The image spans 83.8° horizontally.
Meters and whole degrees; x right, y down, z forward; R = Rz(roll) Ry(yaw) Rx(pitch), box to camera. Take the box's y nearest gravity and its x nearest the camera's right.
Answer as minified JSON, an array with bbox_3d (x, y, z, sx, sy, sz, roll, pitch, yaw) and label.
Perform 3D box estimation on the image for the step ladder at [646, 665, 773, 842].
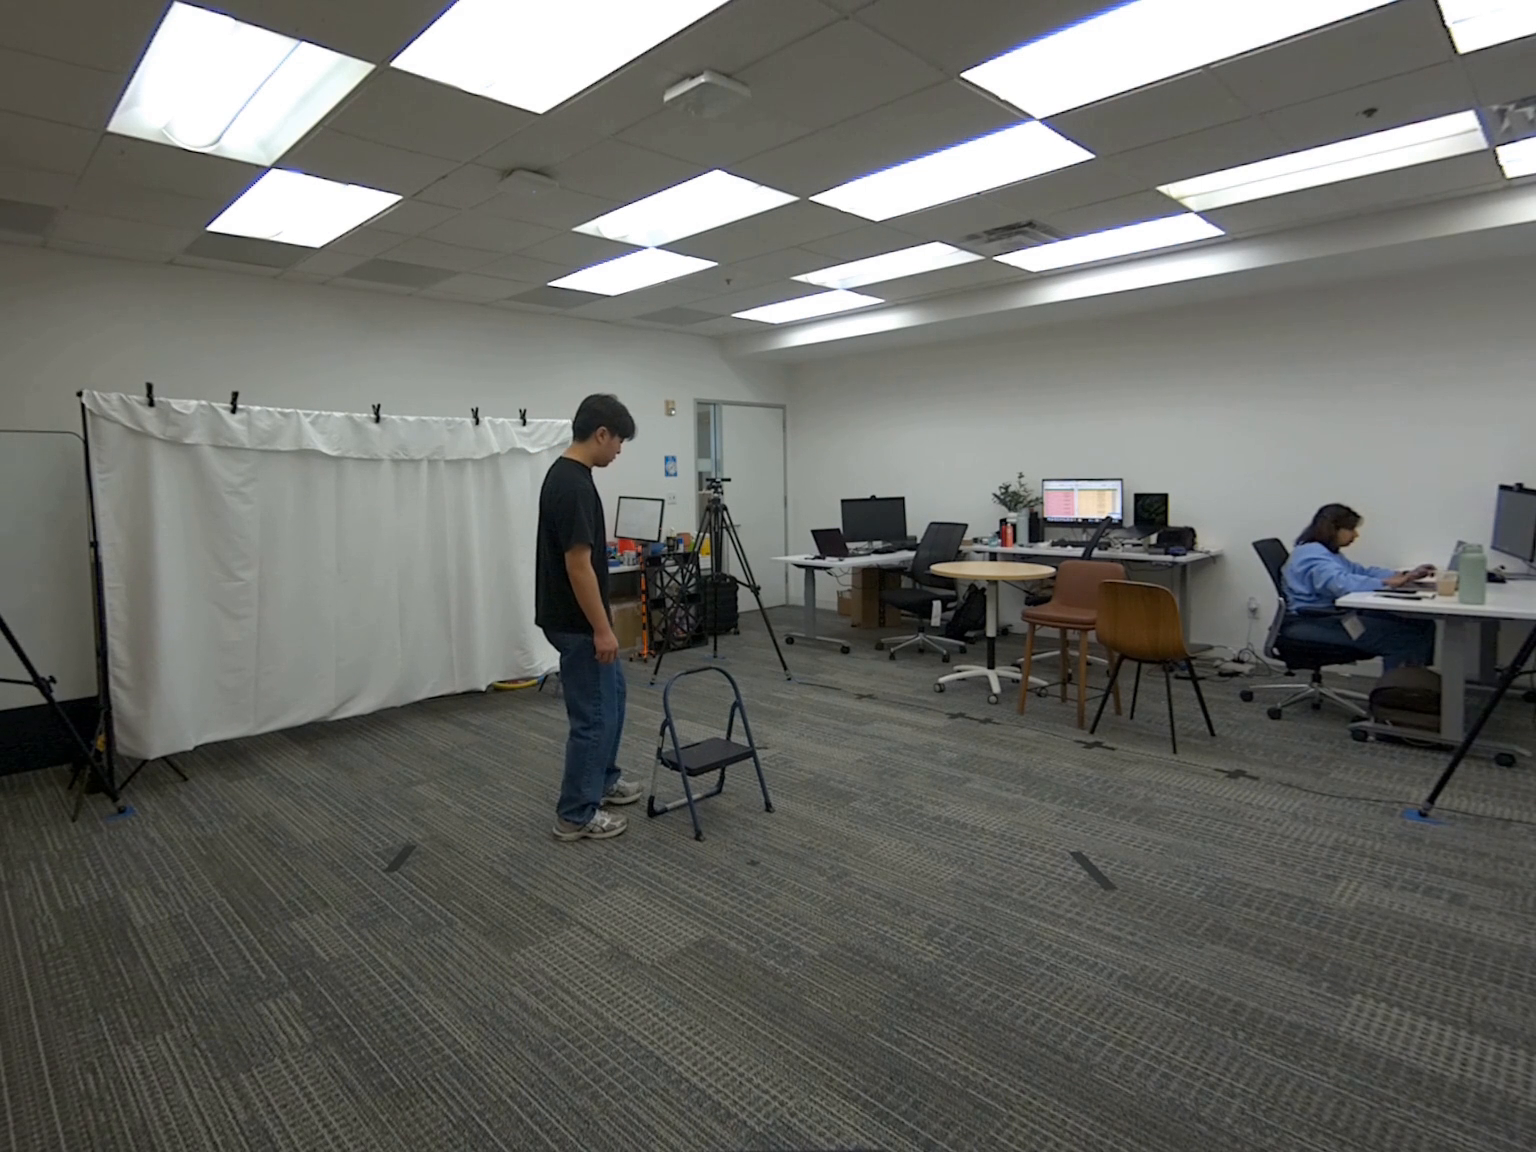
[{"bbox_3d":[-0.241,0.697,3.545,0.419,0.604,0.360,-4,7,-45],"label":"step ladder"}]
